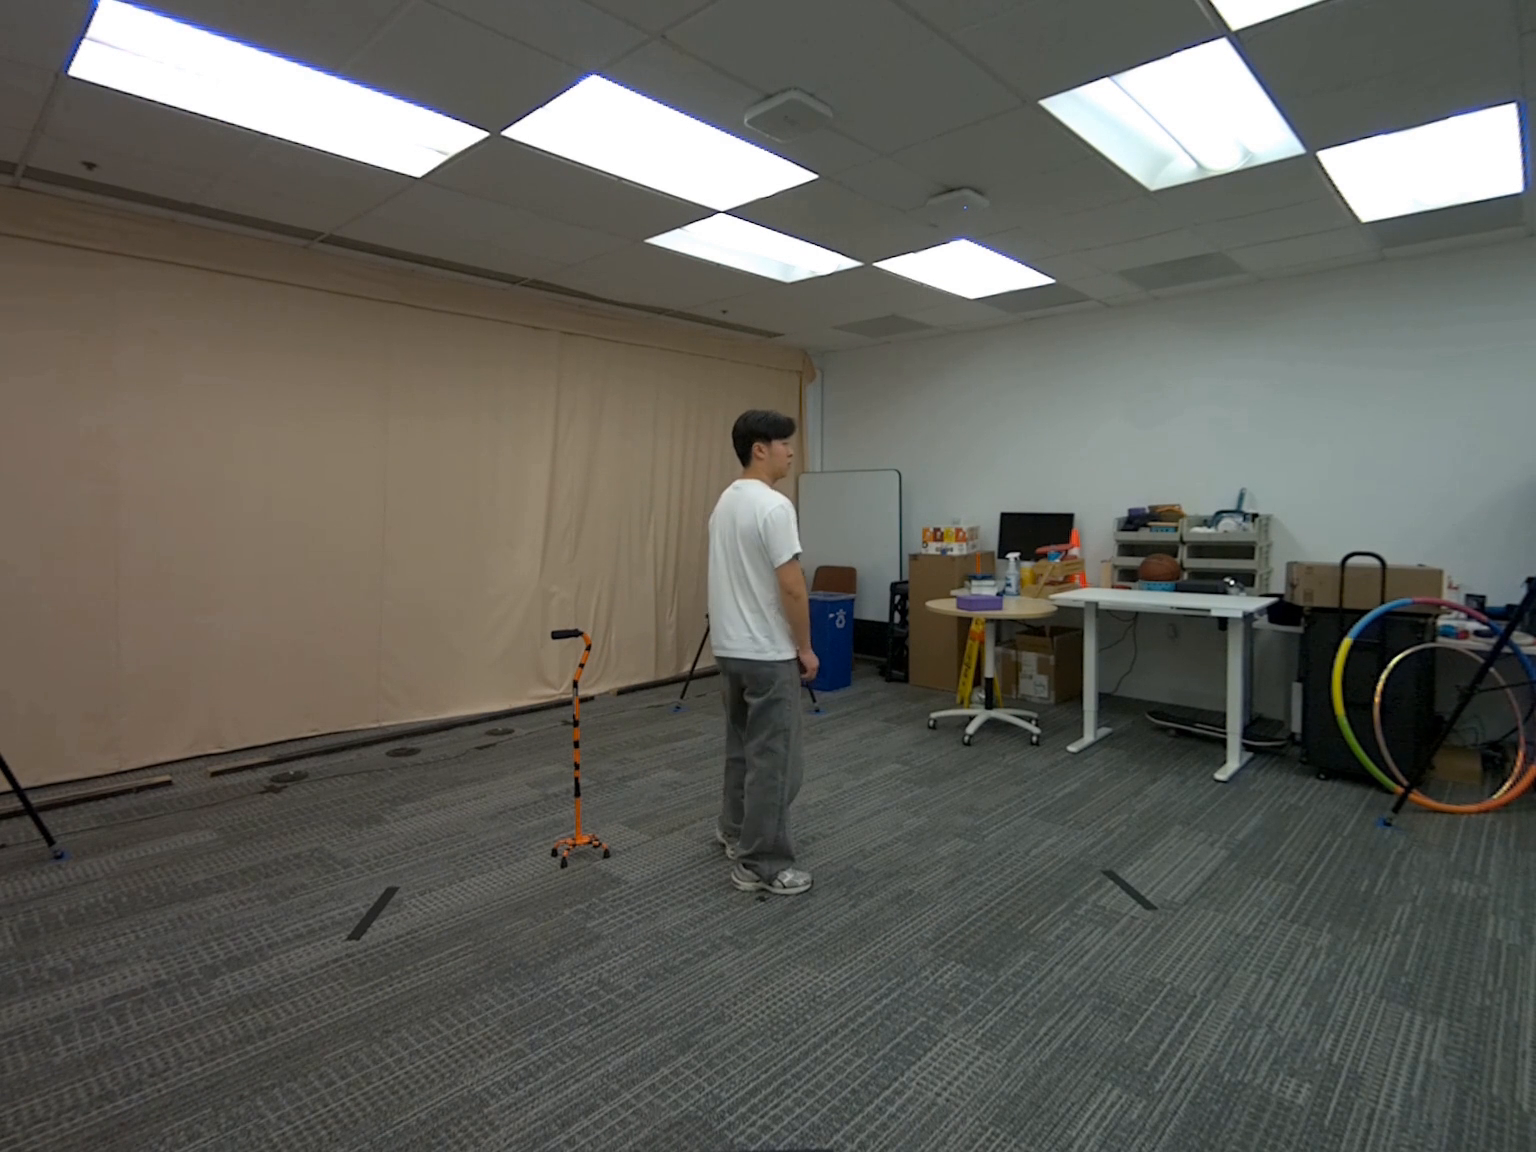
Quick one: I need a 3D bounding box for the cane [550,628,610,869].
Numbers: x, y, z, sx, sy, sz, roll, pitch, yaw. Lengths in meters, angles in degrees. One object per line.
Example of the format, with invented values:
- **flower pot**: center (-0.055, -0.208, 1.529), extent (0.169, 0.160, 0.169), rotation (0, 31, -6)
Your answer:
- **cane**: center (-0.752, 0.673, 3.347), extent (0.201, 0.906, 0.156), rotation (-2, 3, -29)
